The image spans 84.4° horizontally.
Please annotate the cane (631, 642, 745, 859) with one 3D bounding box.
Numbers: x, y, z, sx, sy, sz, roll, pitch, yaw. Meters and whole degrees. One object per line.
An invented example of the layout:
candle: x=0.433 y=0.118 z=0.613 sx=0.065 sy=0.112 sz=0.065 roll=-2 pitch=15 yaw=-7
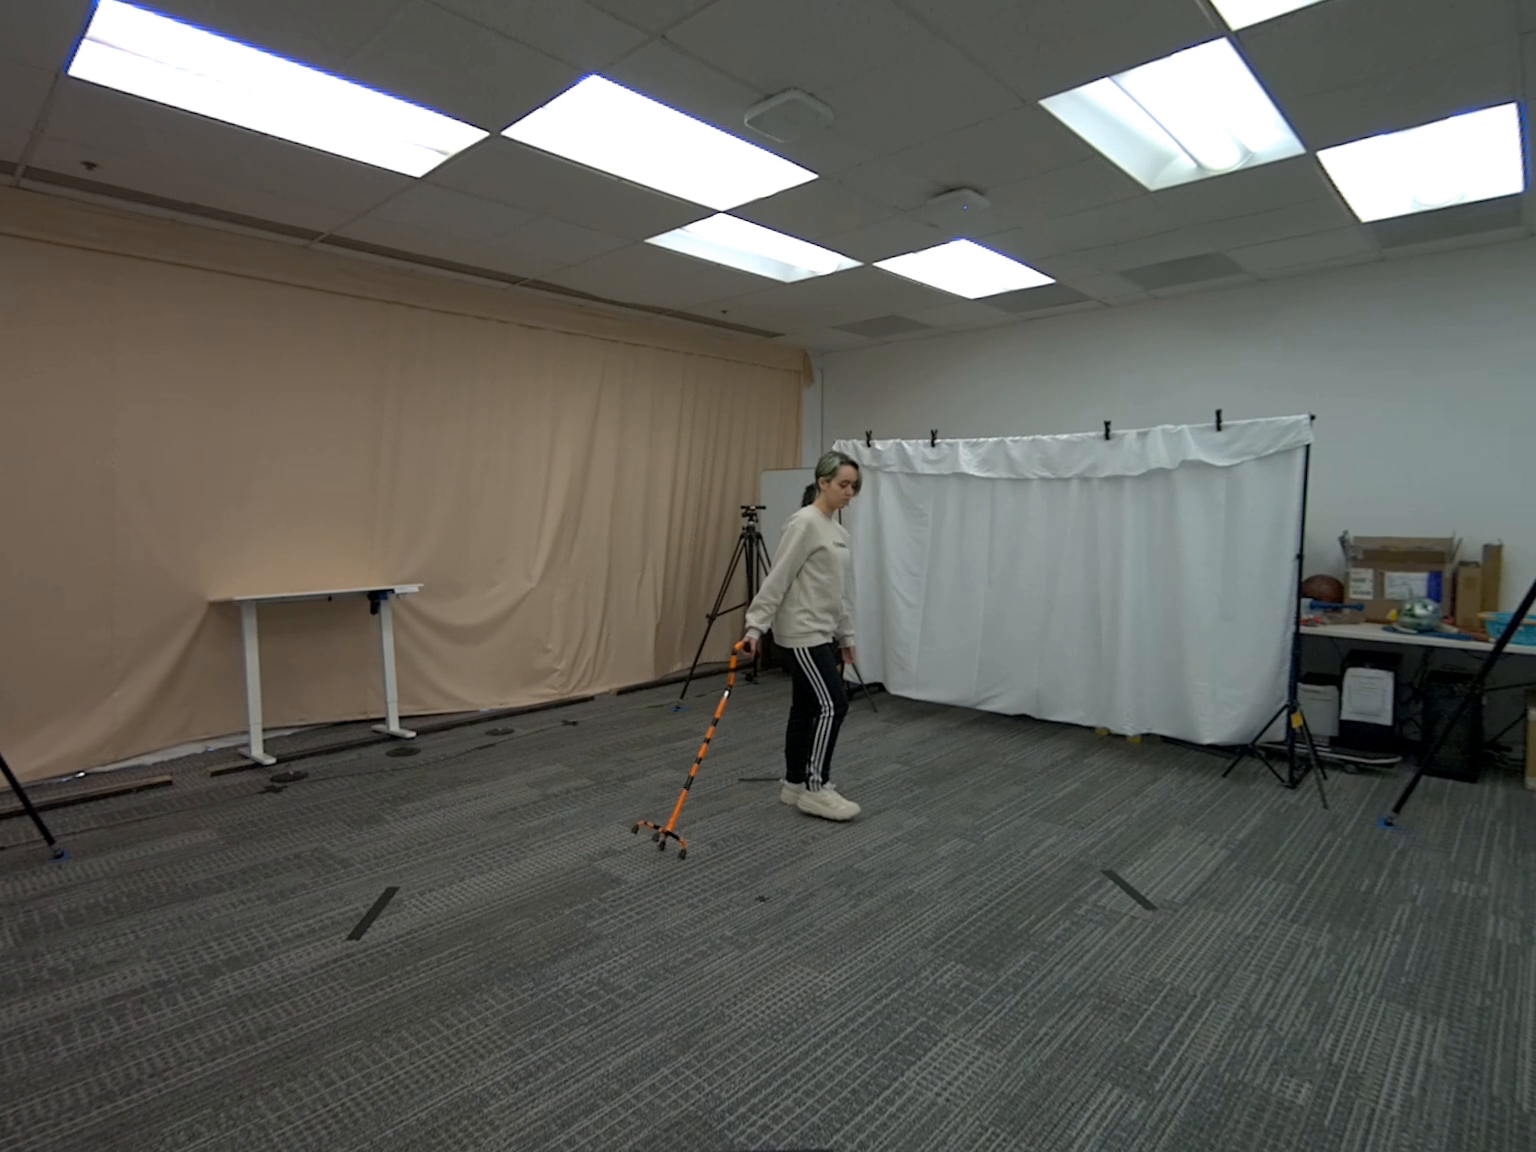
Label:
cane: x=-0.266 y=0.679 z=3.485 sx=0.156 sy=0.910 sz=0.199 roll=1 pitch=-32 yaw=42
